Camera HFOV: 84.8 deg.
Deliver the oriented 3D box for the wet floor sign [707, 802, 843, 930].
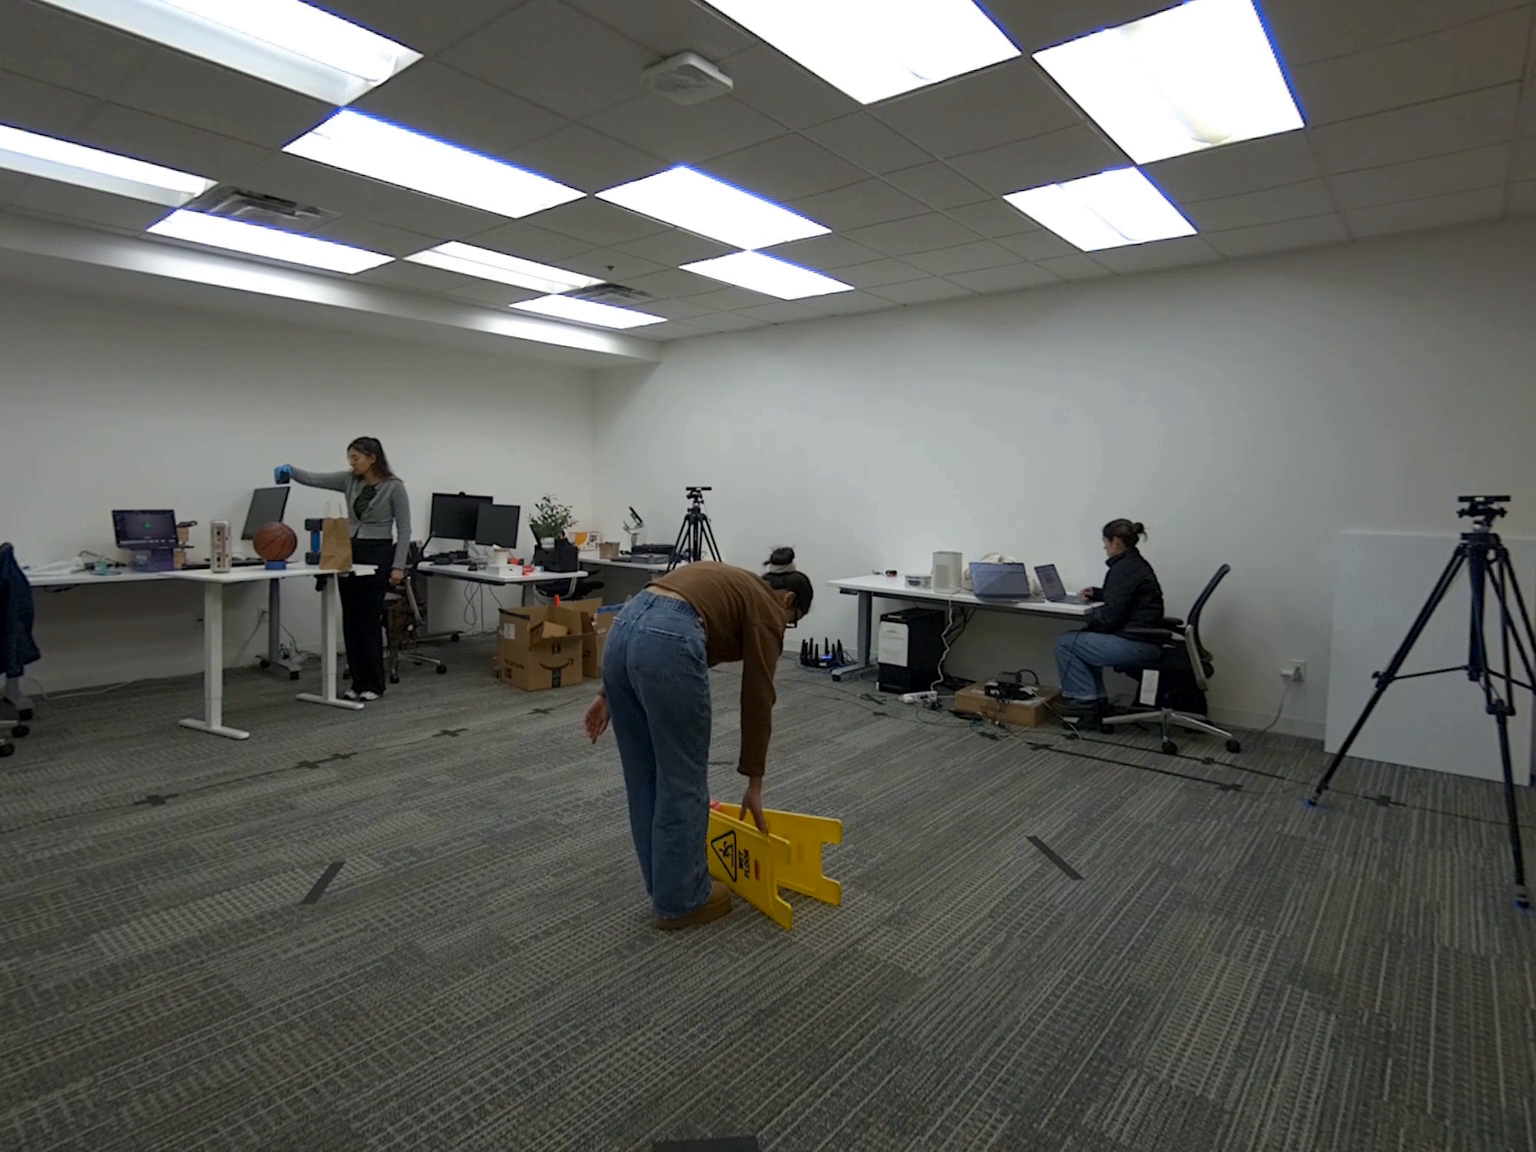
[{"bbox_3d":[-0.094,0.952,2.985,0.667,0.282,0.281,2,3,45],"label":"wet floor sign"}]
